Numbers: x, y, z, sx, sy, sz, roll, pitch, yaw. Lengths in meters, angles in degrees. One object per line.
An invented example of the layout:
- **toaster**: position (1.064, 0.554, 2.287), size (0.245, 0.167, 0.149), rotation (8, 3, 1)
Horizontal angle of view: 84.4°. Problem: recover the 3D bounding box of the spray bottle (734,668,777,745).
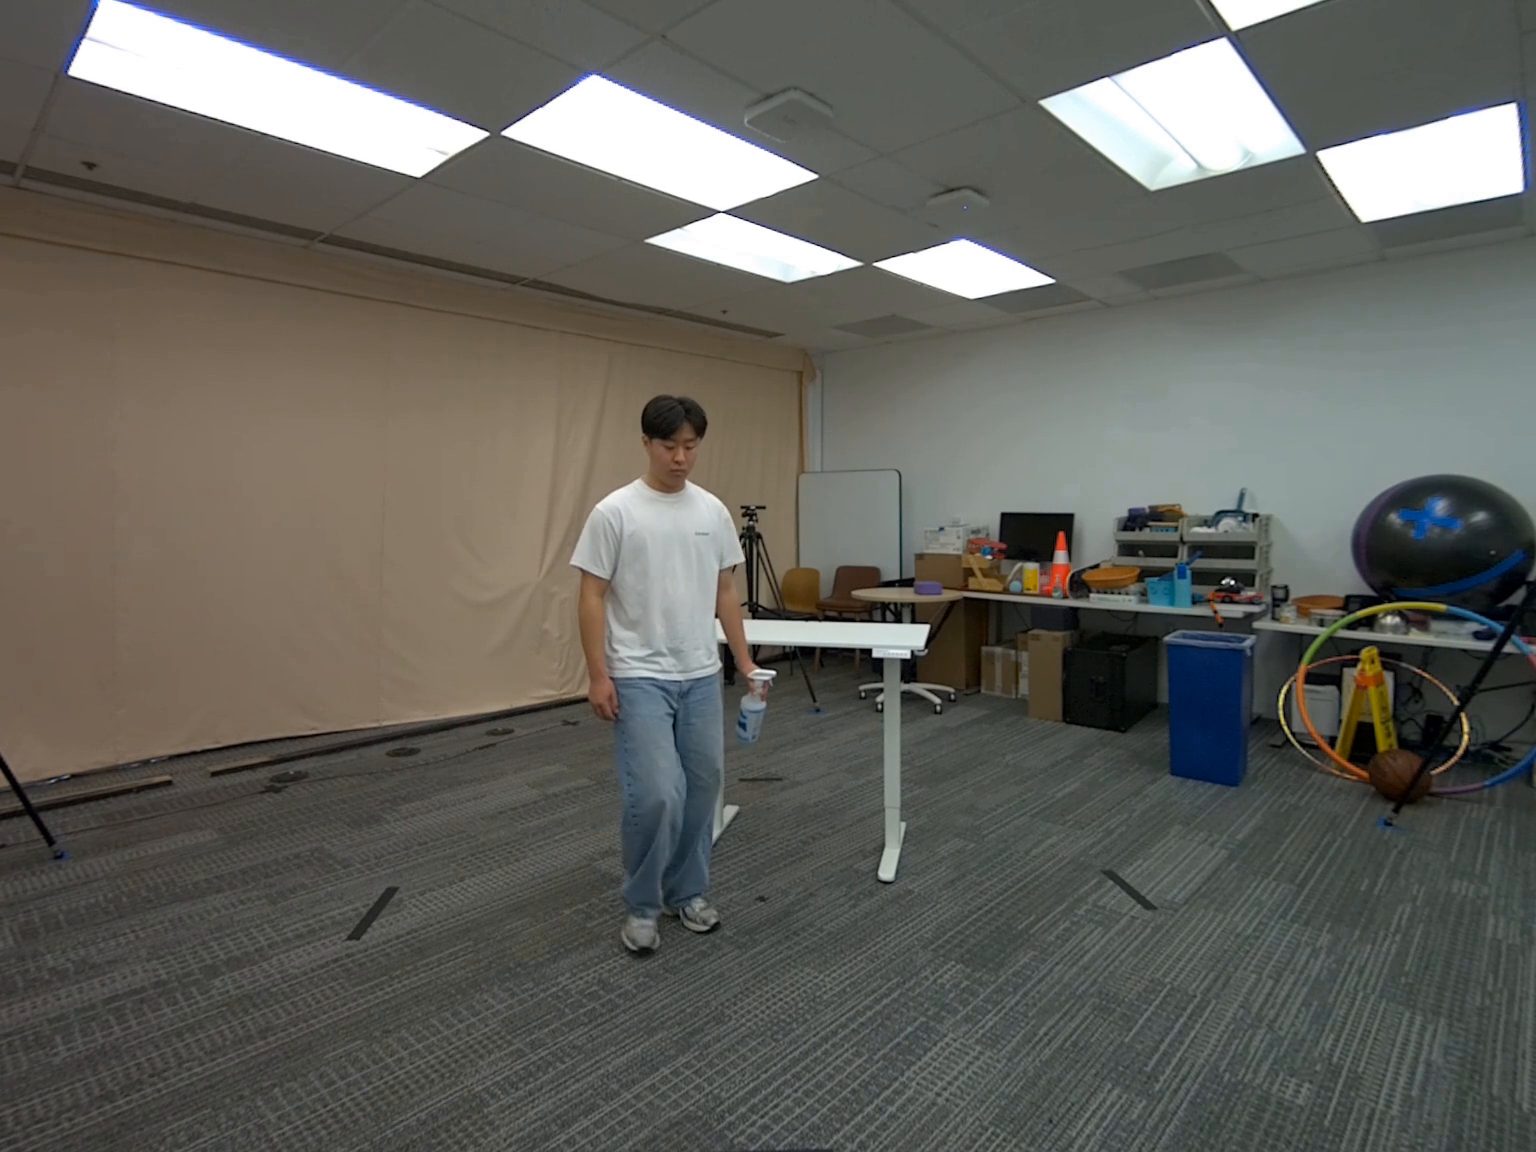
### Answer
- **spray bottle**: position (-0.061, 0.448, 2.877), size (0.092, 0.294, 0.086), rotation (19, 31, 18)
